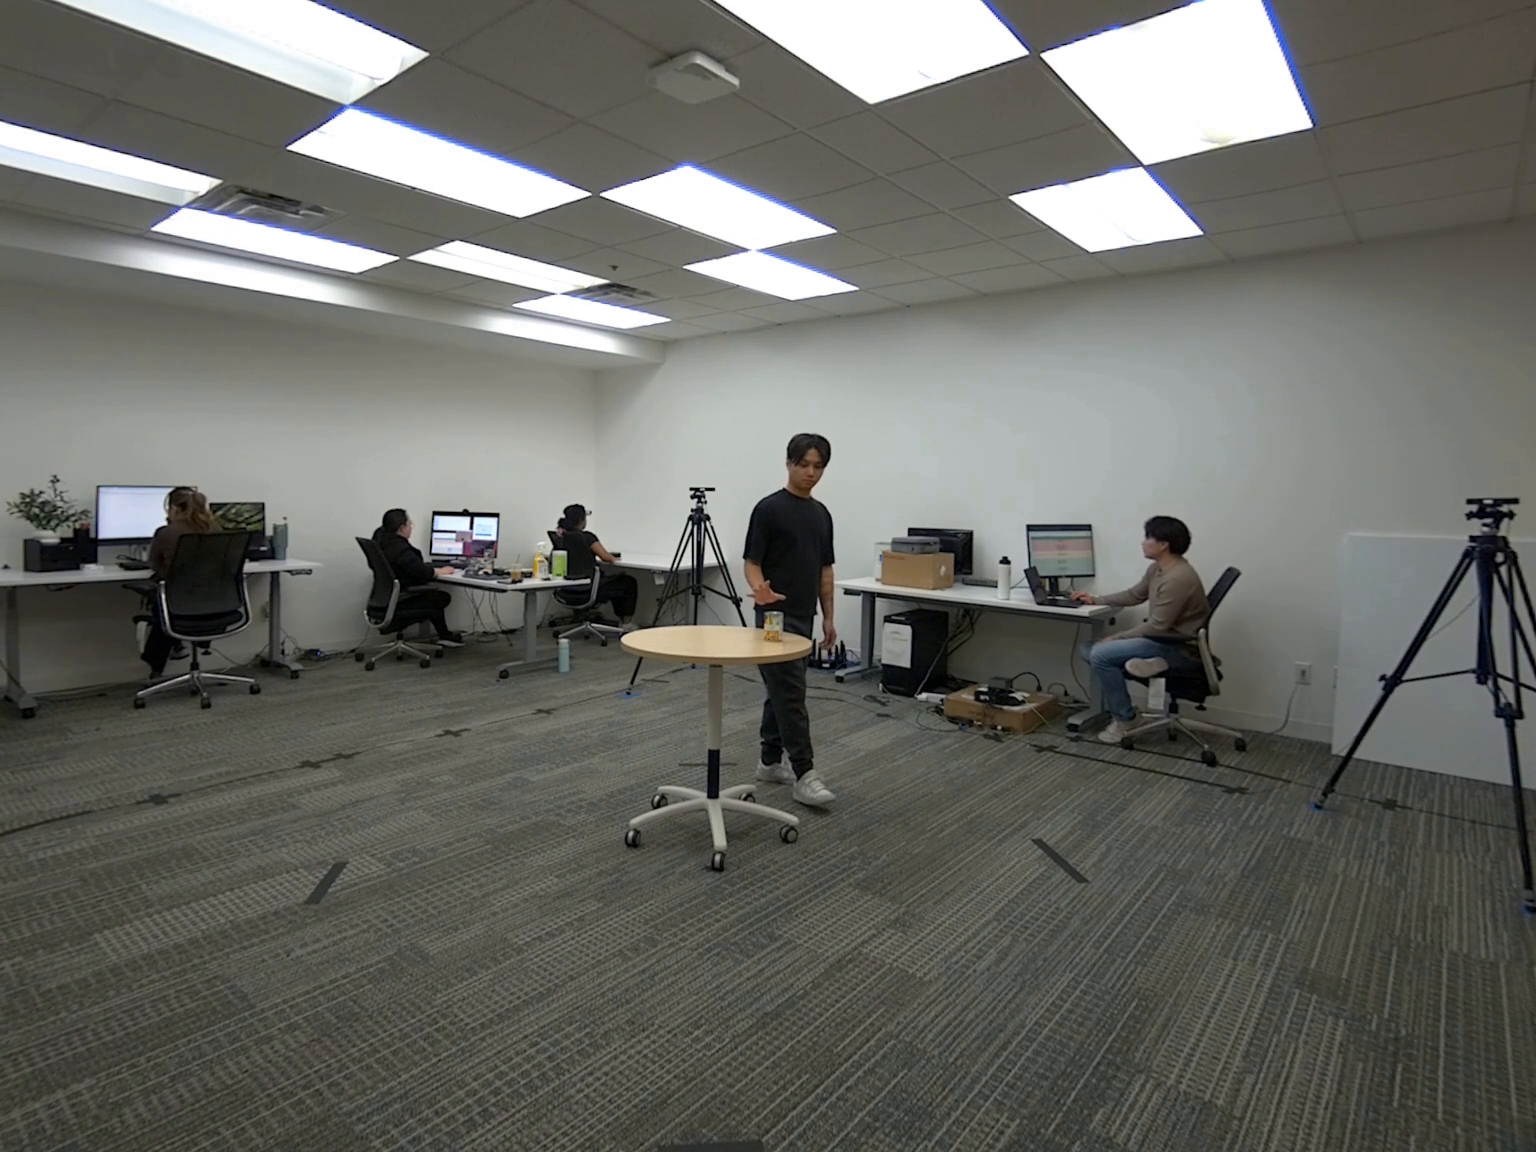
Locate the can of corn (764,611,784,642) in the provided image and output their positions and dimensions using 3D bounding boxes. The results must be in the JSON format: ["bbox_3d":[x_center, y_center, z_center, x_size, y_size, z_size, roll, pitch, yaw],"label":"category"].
[{"bbox_3d":[0.004,0.201,3.434,0.074,0.111,0.074,4,2,-2],"label":"can of corn"}]
